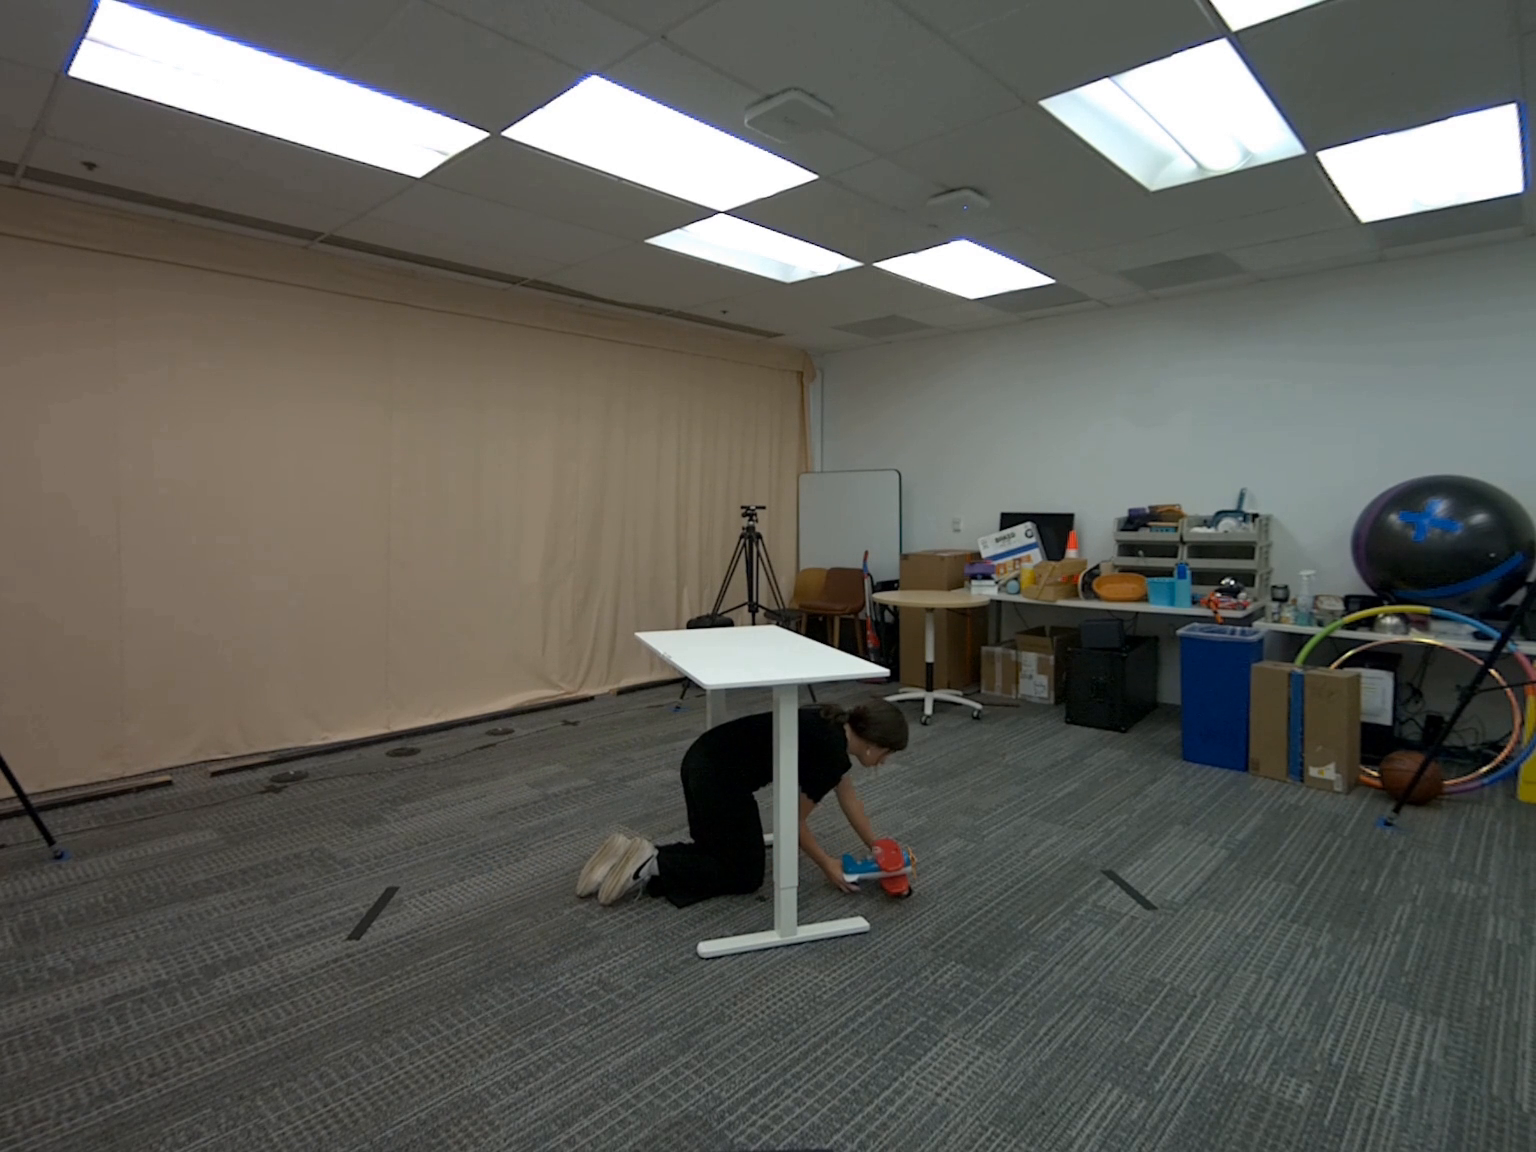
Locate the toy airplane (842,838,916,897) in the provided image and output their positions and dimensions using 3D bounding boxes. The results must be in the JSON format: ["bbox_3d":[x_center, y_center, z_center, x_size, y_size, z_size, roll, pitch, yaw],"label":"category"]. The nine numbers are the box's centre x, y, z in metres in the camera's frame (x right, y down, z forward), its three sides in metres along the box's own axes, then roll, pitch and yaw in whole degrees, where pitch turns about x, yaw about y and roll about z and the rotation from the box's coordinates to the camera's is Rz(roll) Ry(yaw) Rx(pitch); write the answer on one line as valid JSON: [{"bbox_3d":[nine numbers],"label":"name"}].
[{"bbox_3d":[0.406,1.061,3.001,0.252,0.156,0.258,1,4,-29],"label":"toy airplane"}]
